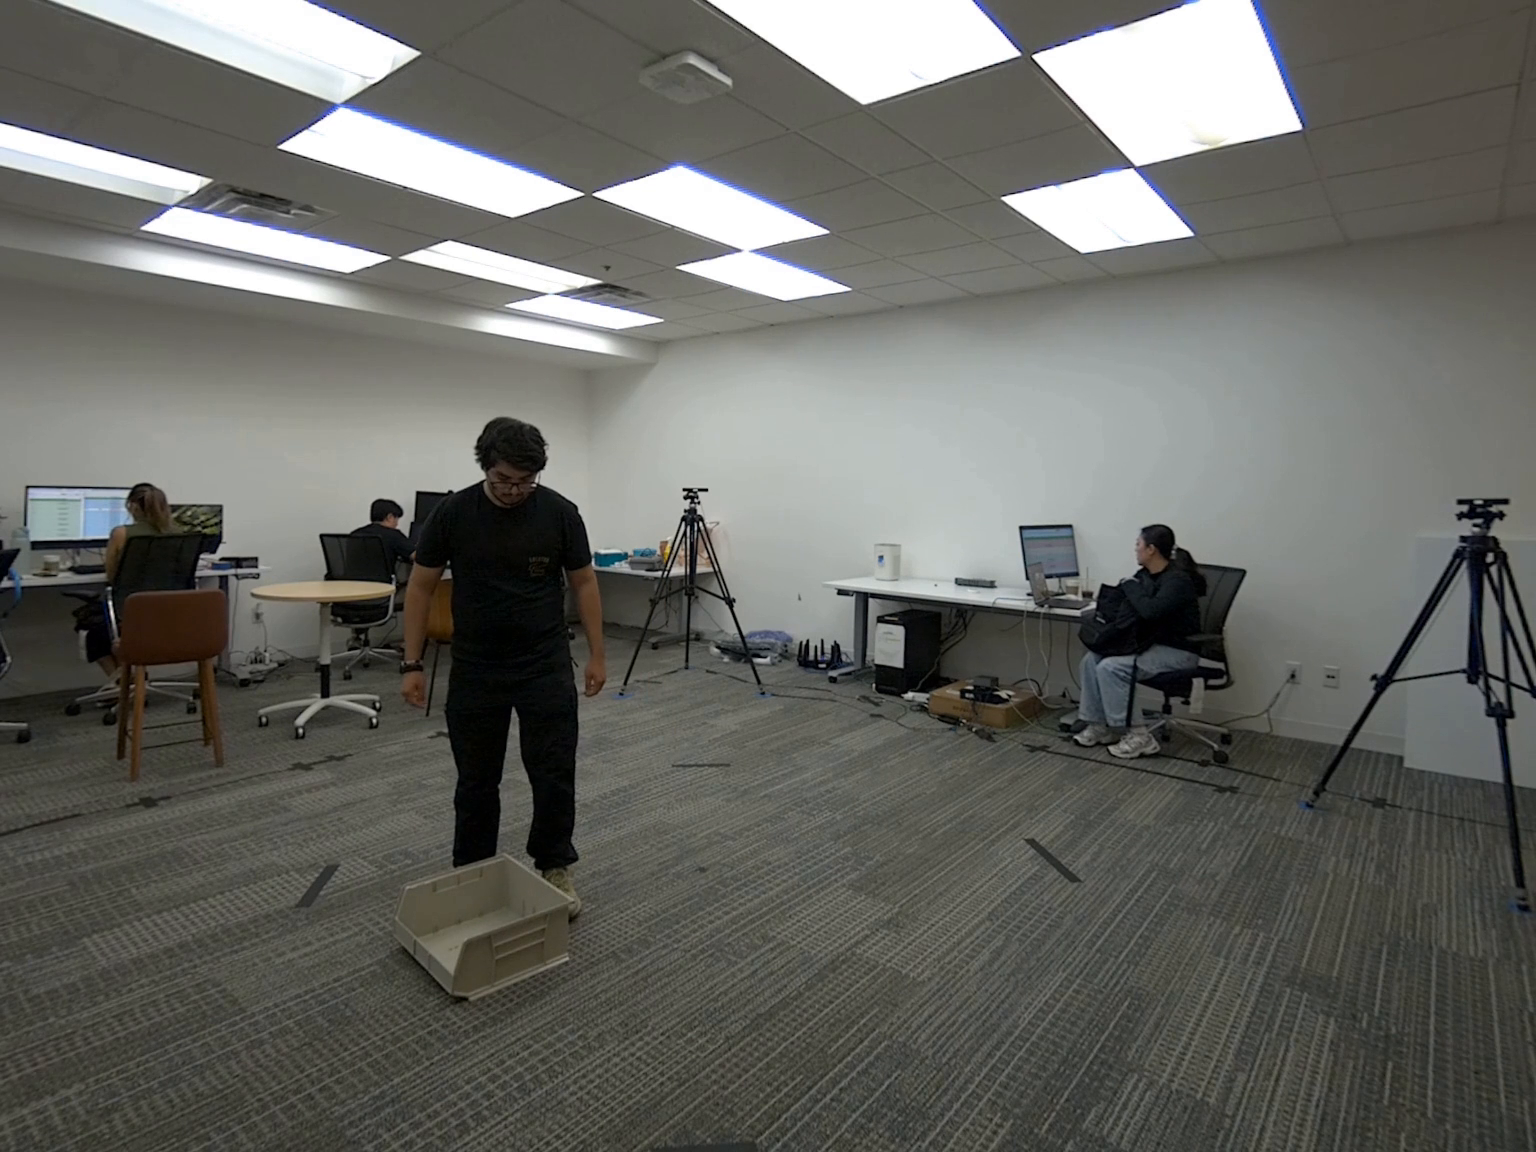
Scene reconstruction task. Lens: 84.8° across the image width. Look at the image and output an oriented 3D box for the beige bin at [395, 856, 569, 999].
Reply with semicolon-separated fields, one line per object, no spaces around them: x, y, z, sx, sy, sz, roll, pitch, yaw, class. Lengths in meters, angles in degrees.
-0.858;1.029;2.518;0.365;0.188;0.437;-2;5;-44;beige bin
